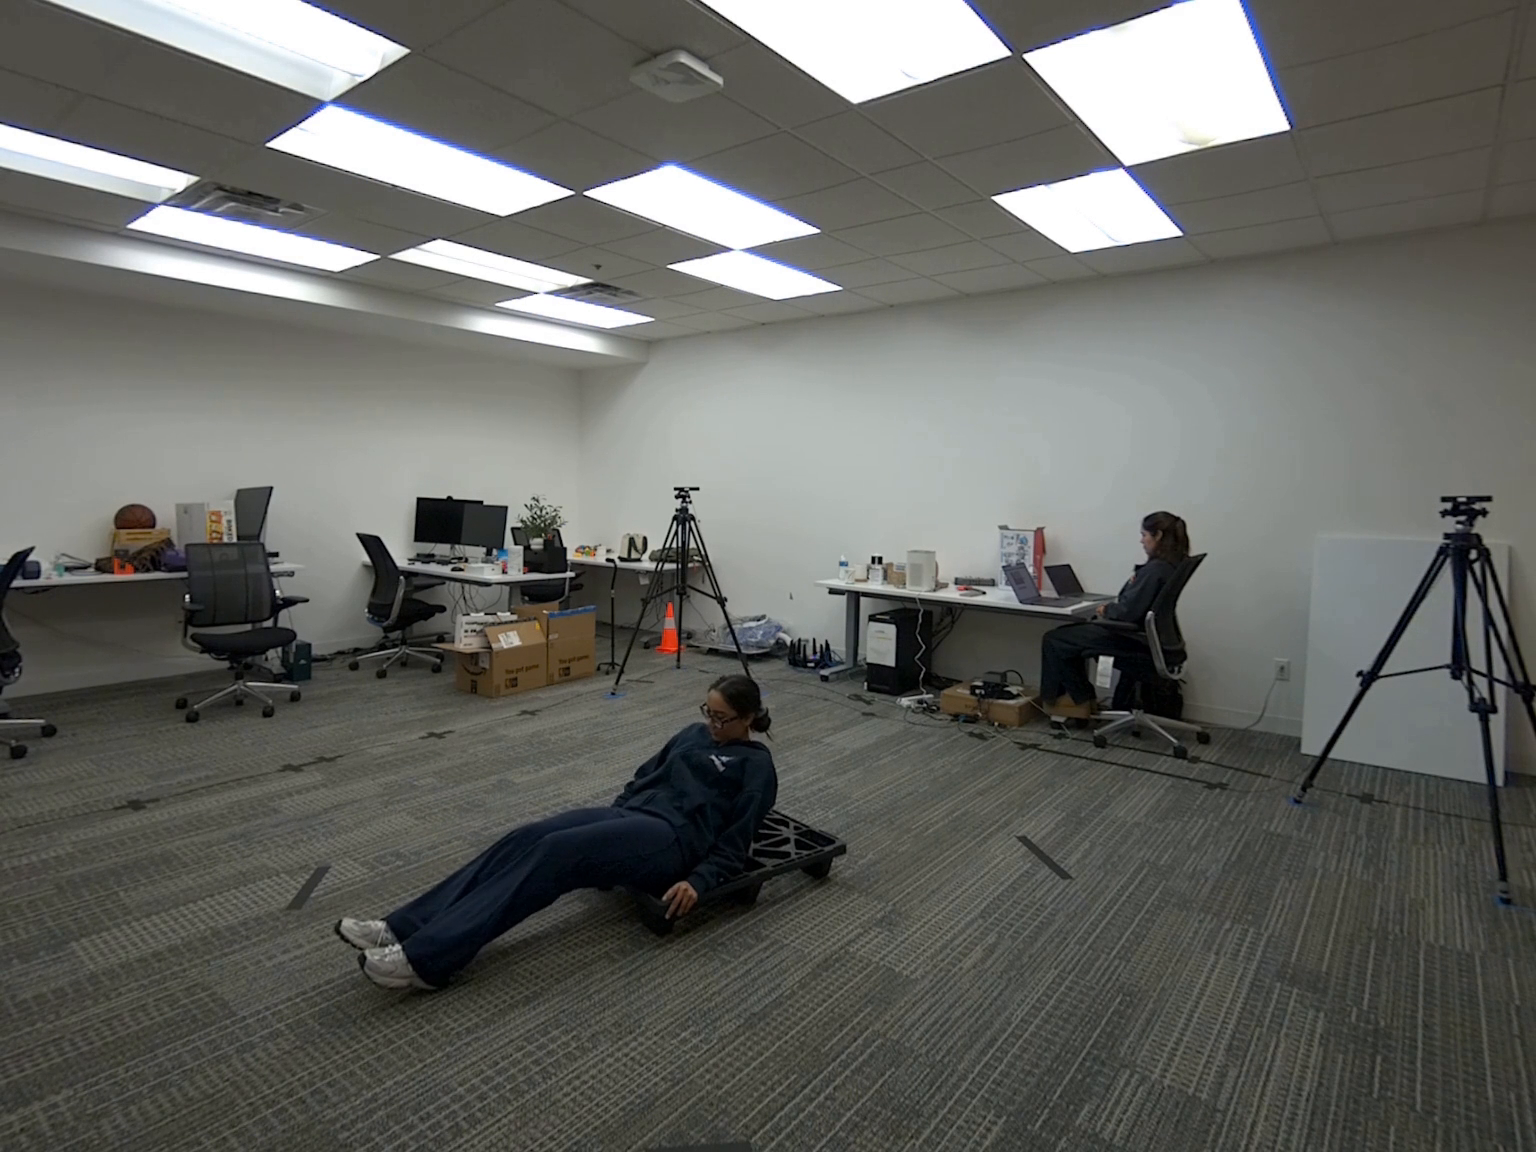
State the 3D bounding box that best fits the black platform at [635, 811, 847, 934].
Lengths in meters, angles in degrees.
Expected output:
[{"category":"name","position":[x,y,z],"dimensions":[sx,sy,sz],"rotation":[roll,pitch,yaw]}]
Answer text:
[{"category":"black platform","position":[-0.212,1.011,3.027],"dimensions":[0.782,0.142,0.626],"rotation":[-4,8,-37]}]
